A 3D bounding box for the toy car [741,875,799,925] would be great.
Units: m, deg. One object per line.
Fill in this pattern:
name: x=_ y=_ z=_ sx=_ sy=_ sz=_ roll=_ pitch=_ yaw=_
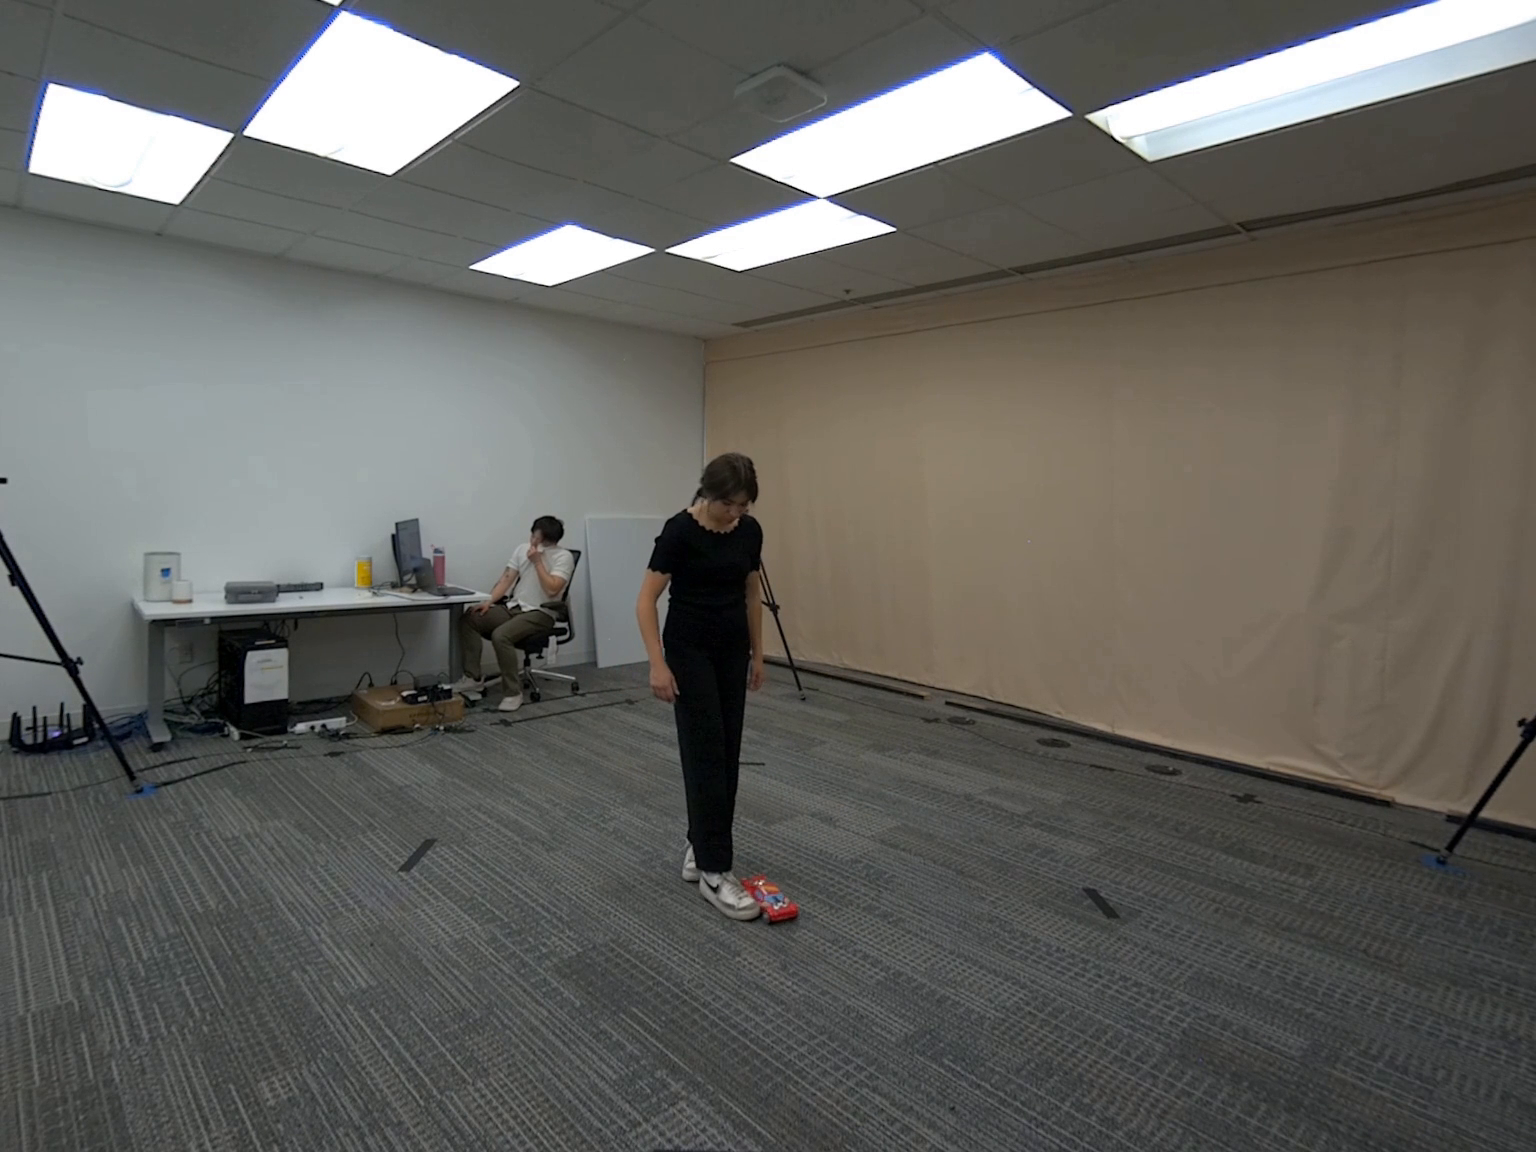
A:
toy car: x=-0.018 y=1.100 z=2.864 sx=0.128 sy=0.082 sz=0.261 roll=-1 pitch=16 yaw=-26
